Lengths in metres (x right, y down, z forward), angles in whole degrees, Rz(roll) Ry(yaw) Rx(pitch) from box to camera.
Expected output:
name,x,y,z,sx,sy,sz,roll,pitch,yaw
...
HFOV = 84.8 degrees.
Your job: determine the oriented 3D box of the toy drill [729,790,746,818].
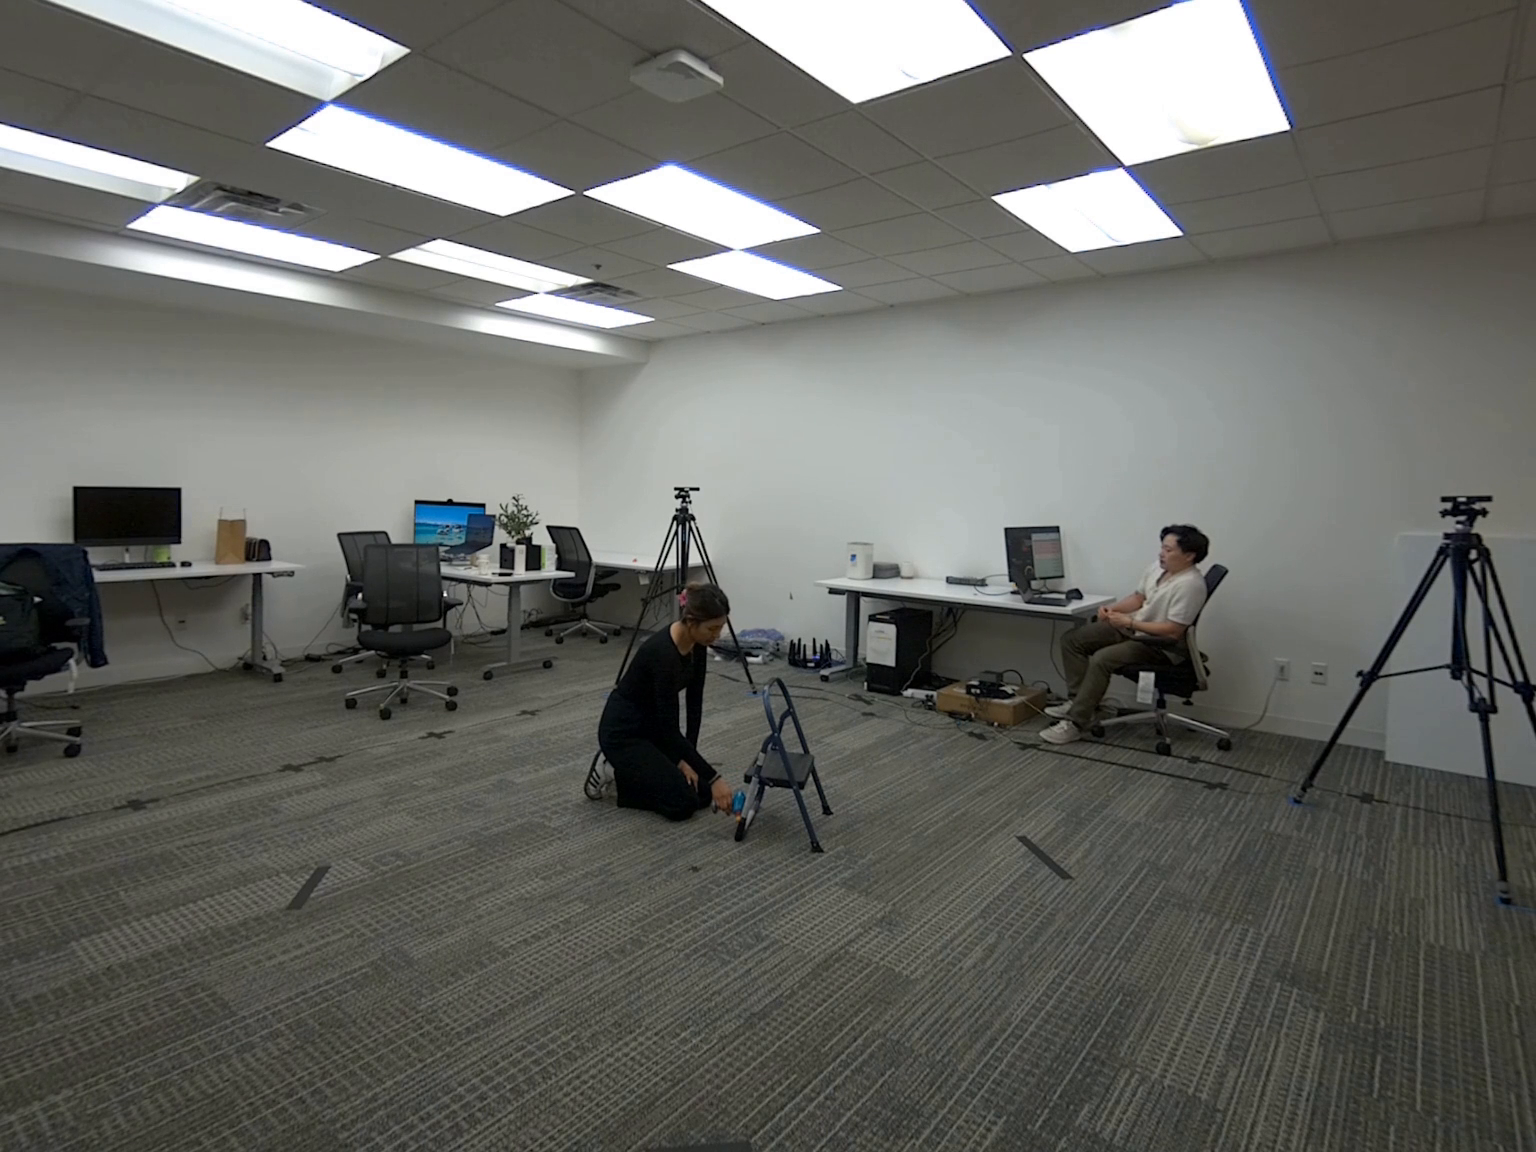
name,x,y,z,sx,sy,sz,roll,pitch,yaw
toy drill,-0.164,0.956,3.442,0.148,0.174,0.059,-7,-36,15
